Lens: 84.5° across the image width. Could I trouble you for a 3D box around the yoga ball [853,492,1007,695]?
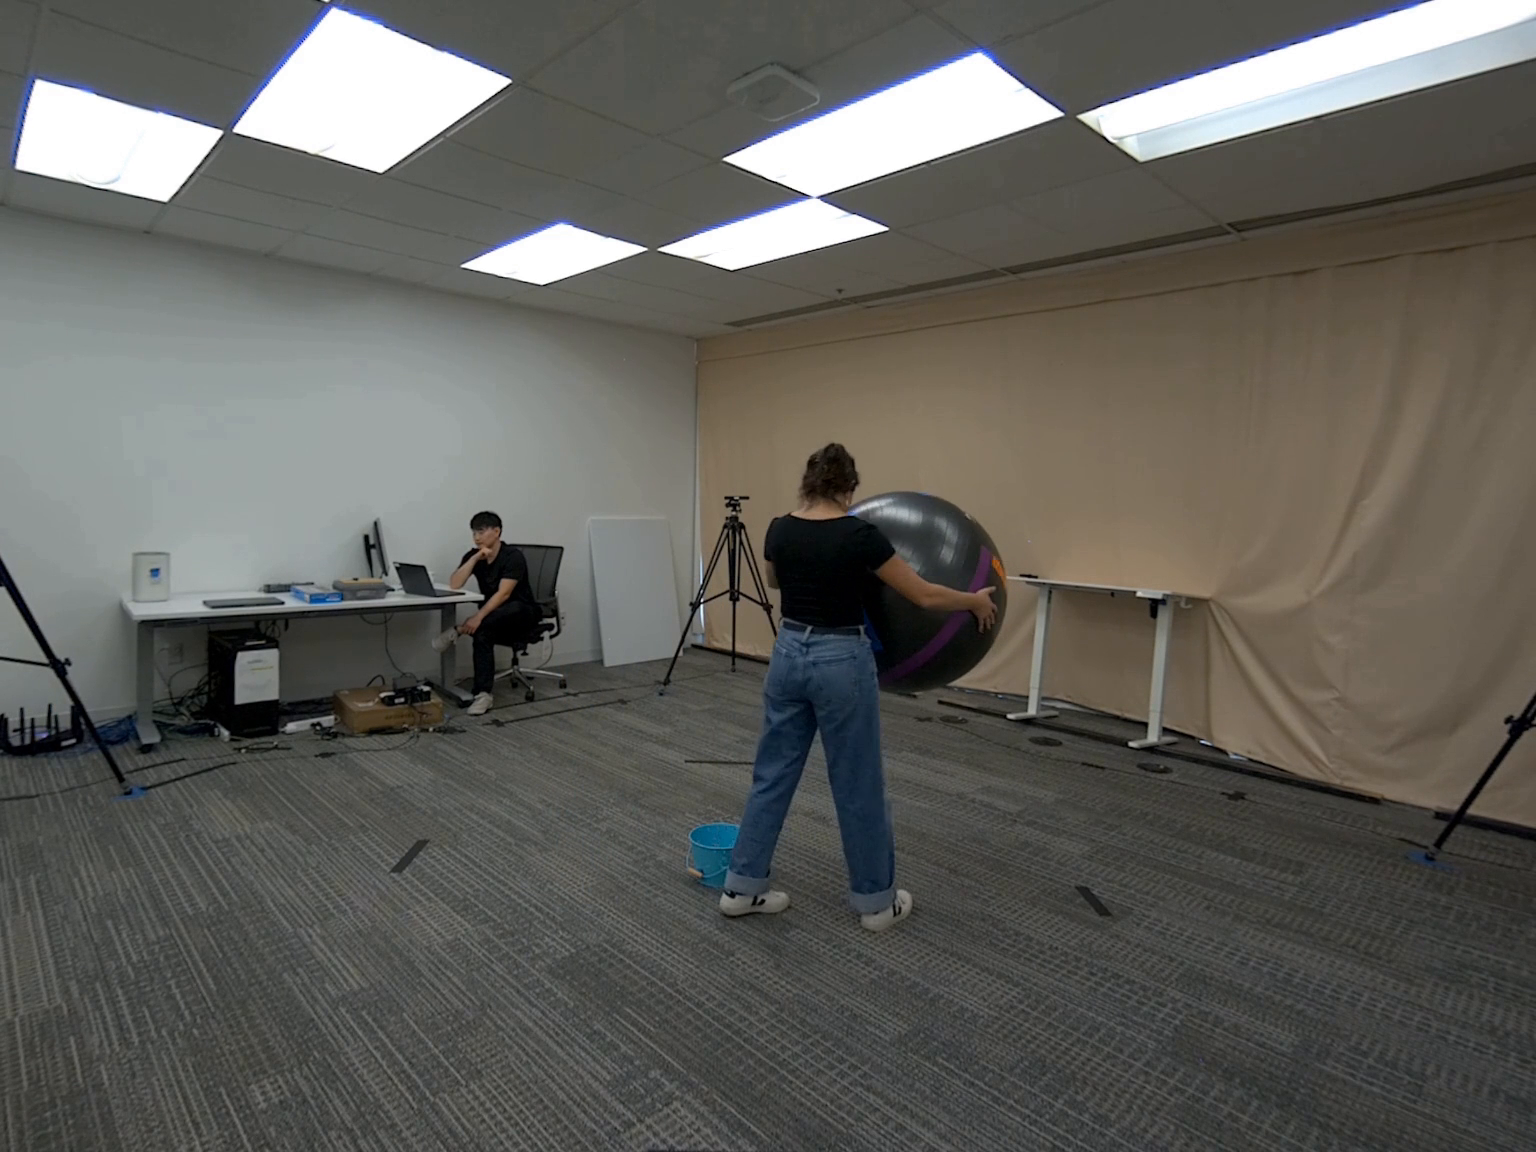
[{"bbox_3d":[0.510,0.062,3.178,0.757,0.756,0.760,1,4,-1],"label":"yoga ball"}]
